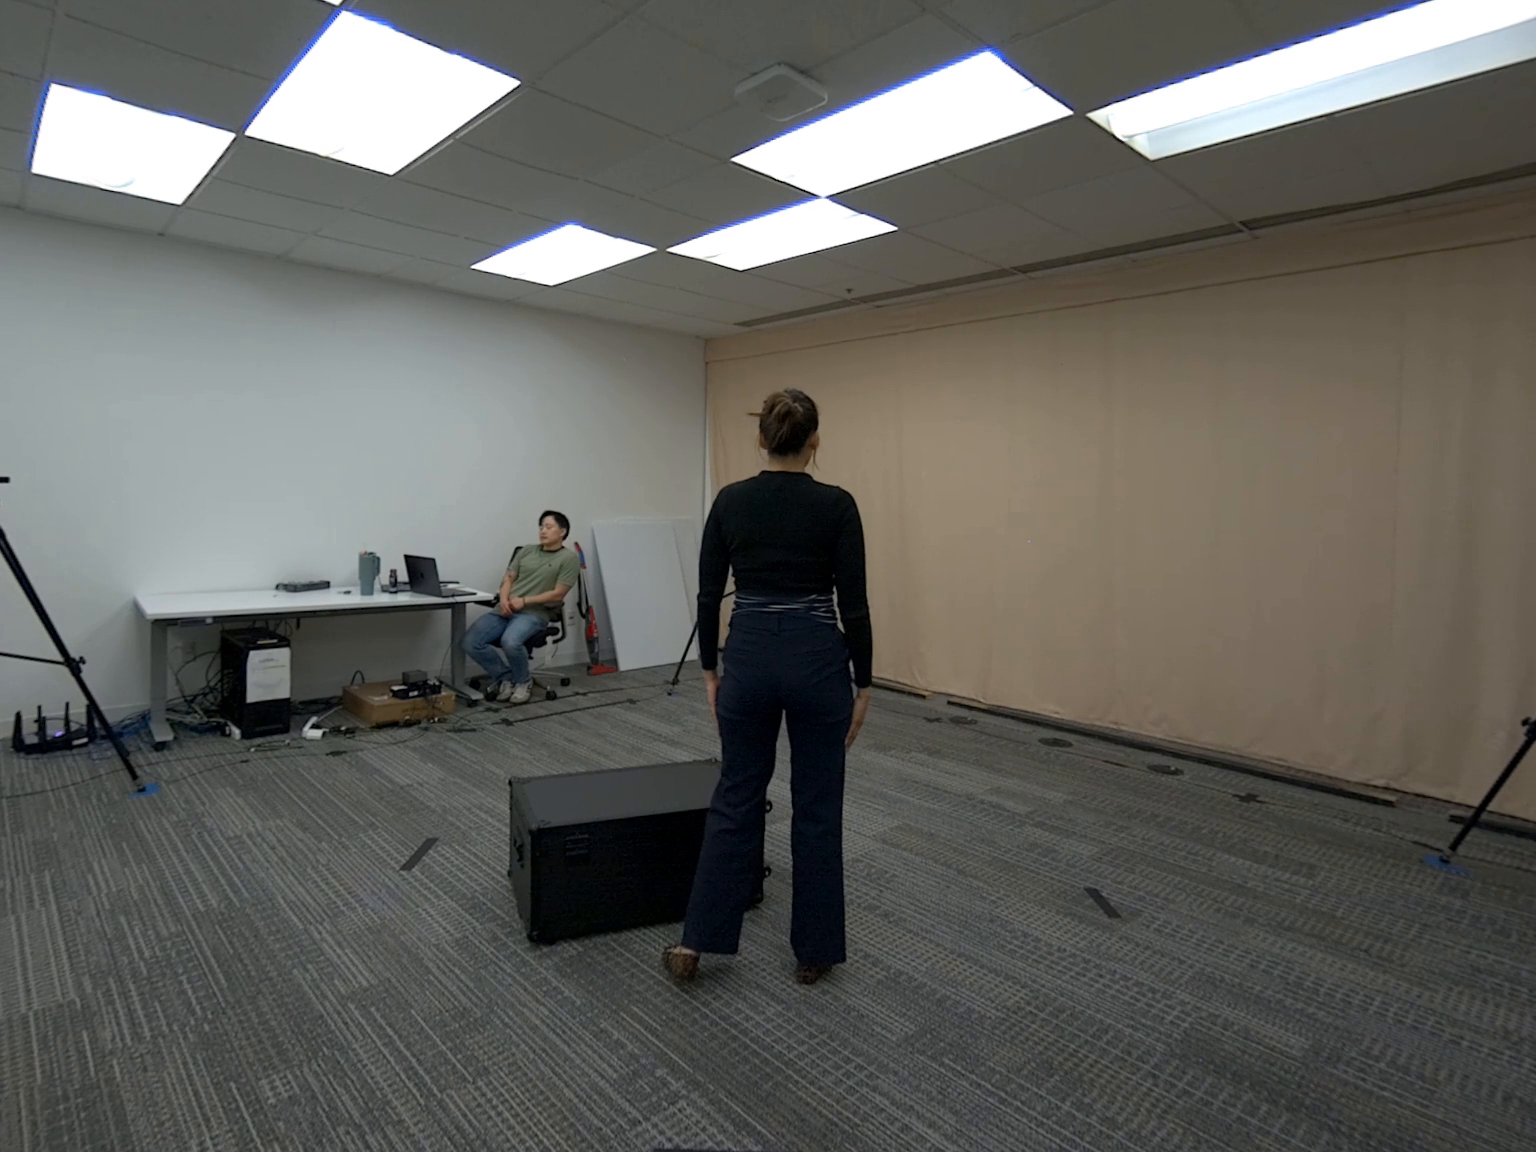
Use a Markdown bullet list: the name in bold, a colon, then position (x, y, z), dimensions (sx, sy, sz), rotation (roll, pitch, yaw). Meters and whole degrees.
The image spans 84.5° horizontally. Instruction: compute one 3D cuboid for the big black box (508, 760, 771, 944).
- **big black box**: position (-0.494, 0.924, 2.903), dimensions (0.847, 0.395, 0.531), rotation (-1, 5, -23)
